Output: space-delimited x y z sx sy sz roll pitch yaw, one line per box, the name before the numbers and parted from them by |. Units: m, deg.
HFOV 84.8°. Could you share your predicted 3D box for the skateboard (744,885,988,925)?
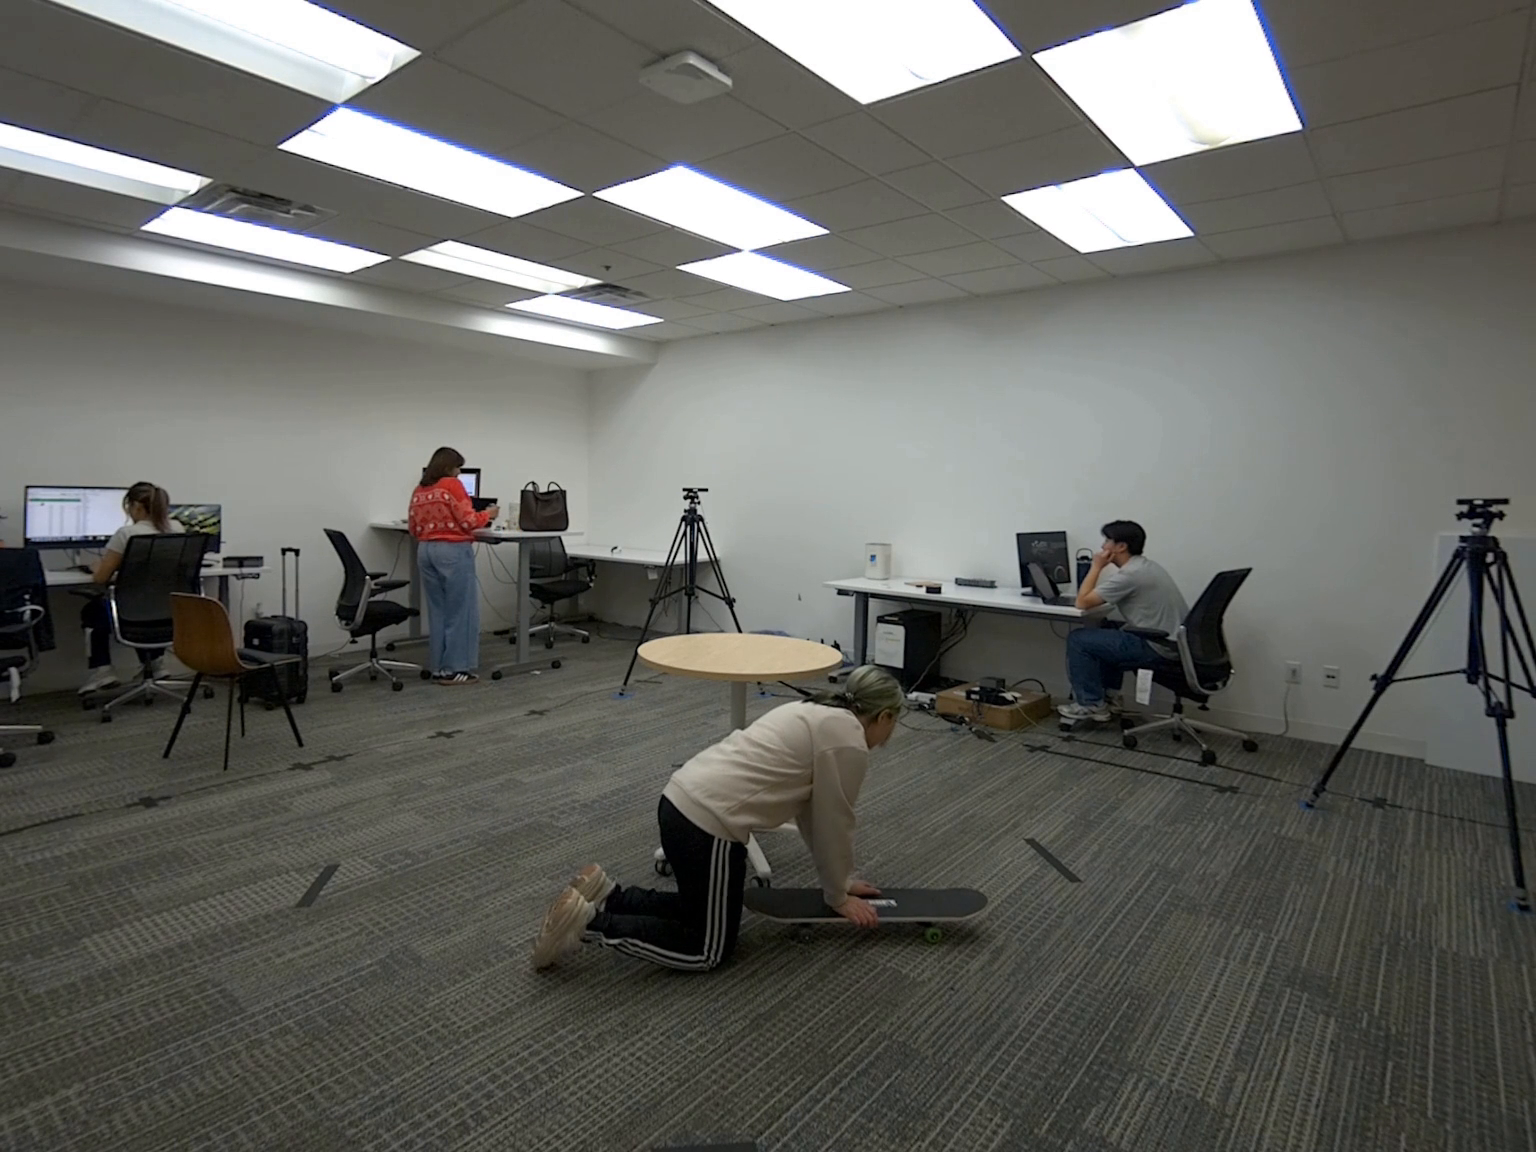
skateboard | 0.306 1.072 2.699 0.782 0.110 0.195 0 6 -4
